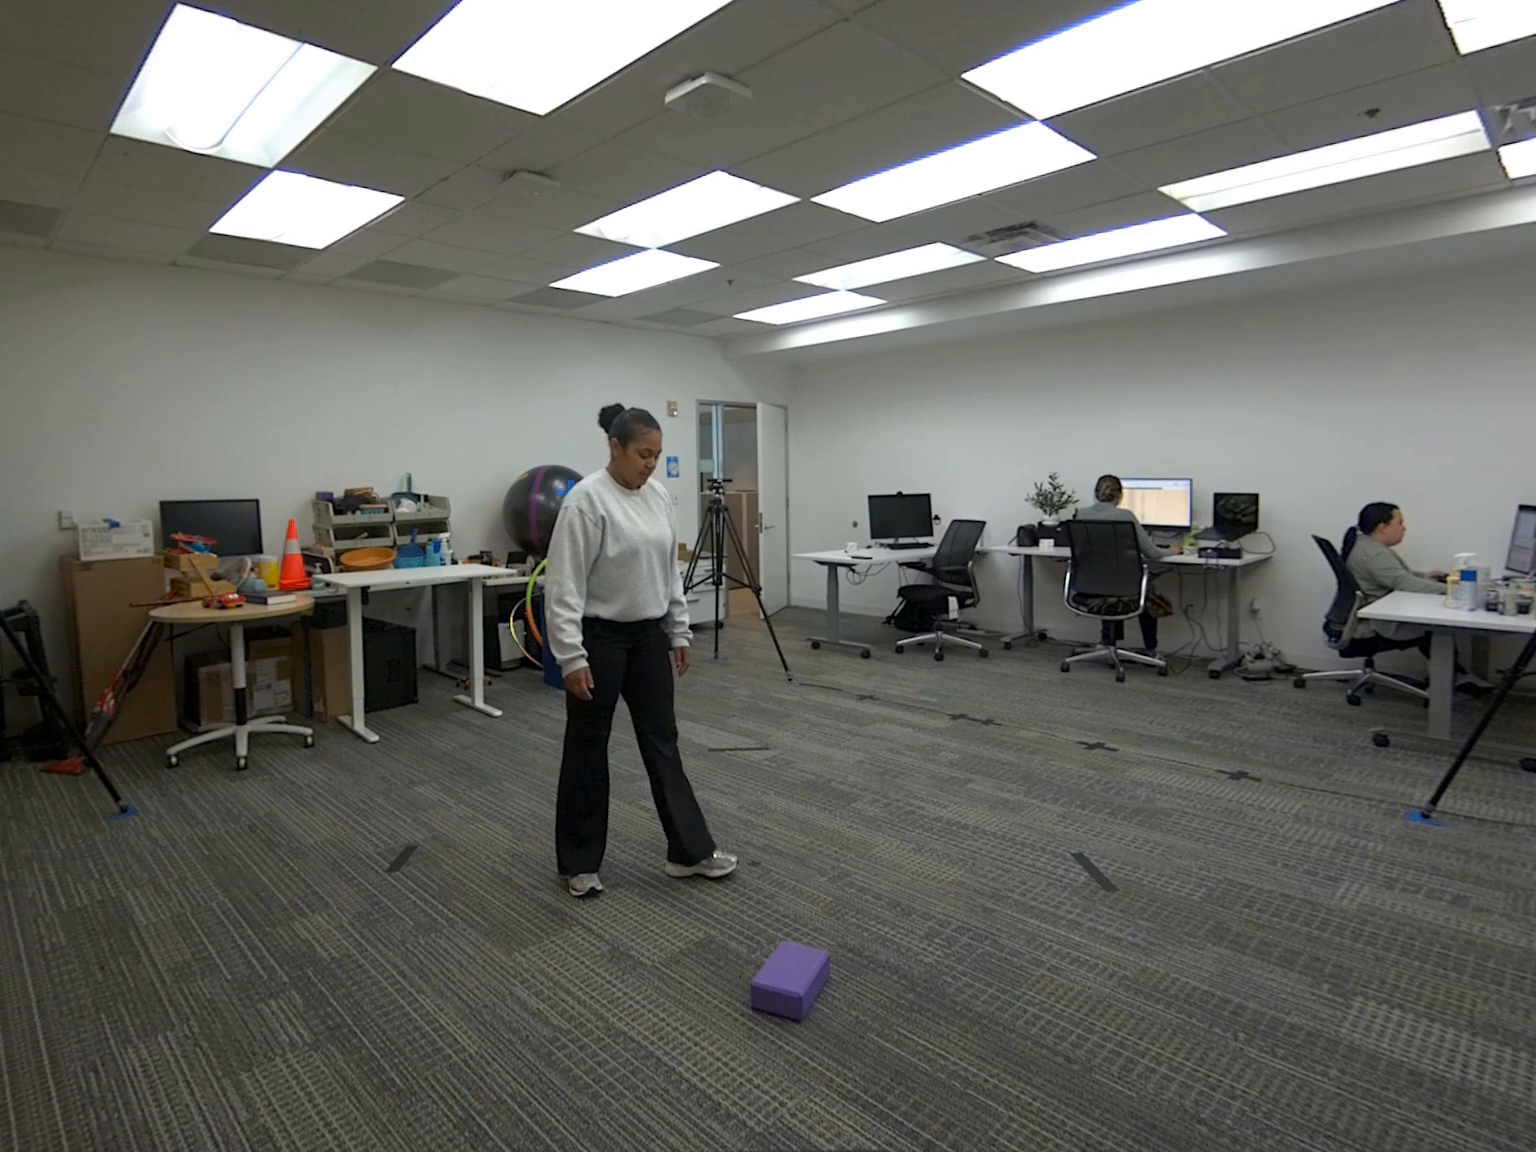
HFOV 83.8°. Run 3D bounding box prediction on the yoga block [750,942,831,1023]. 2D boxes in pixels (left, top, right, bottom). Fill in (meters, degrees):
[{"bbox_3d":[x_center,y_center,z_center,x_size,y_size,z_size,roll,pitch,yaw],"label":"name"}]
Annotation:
[{"bbox_3d":[0.072,1.099,2.317,0.152,0.076,0.225,1,6,25],"label":"yoga block"}]
